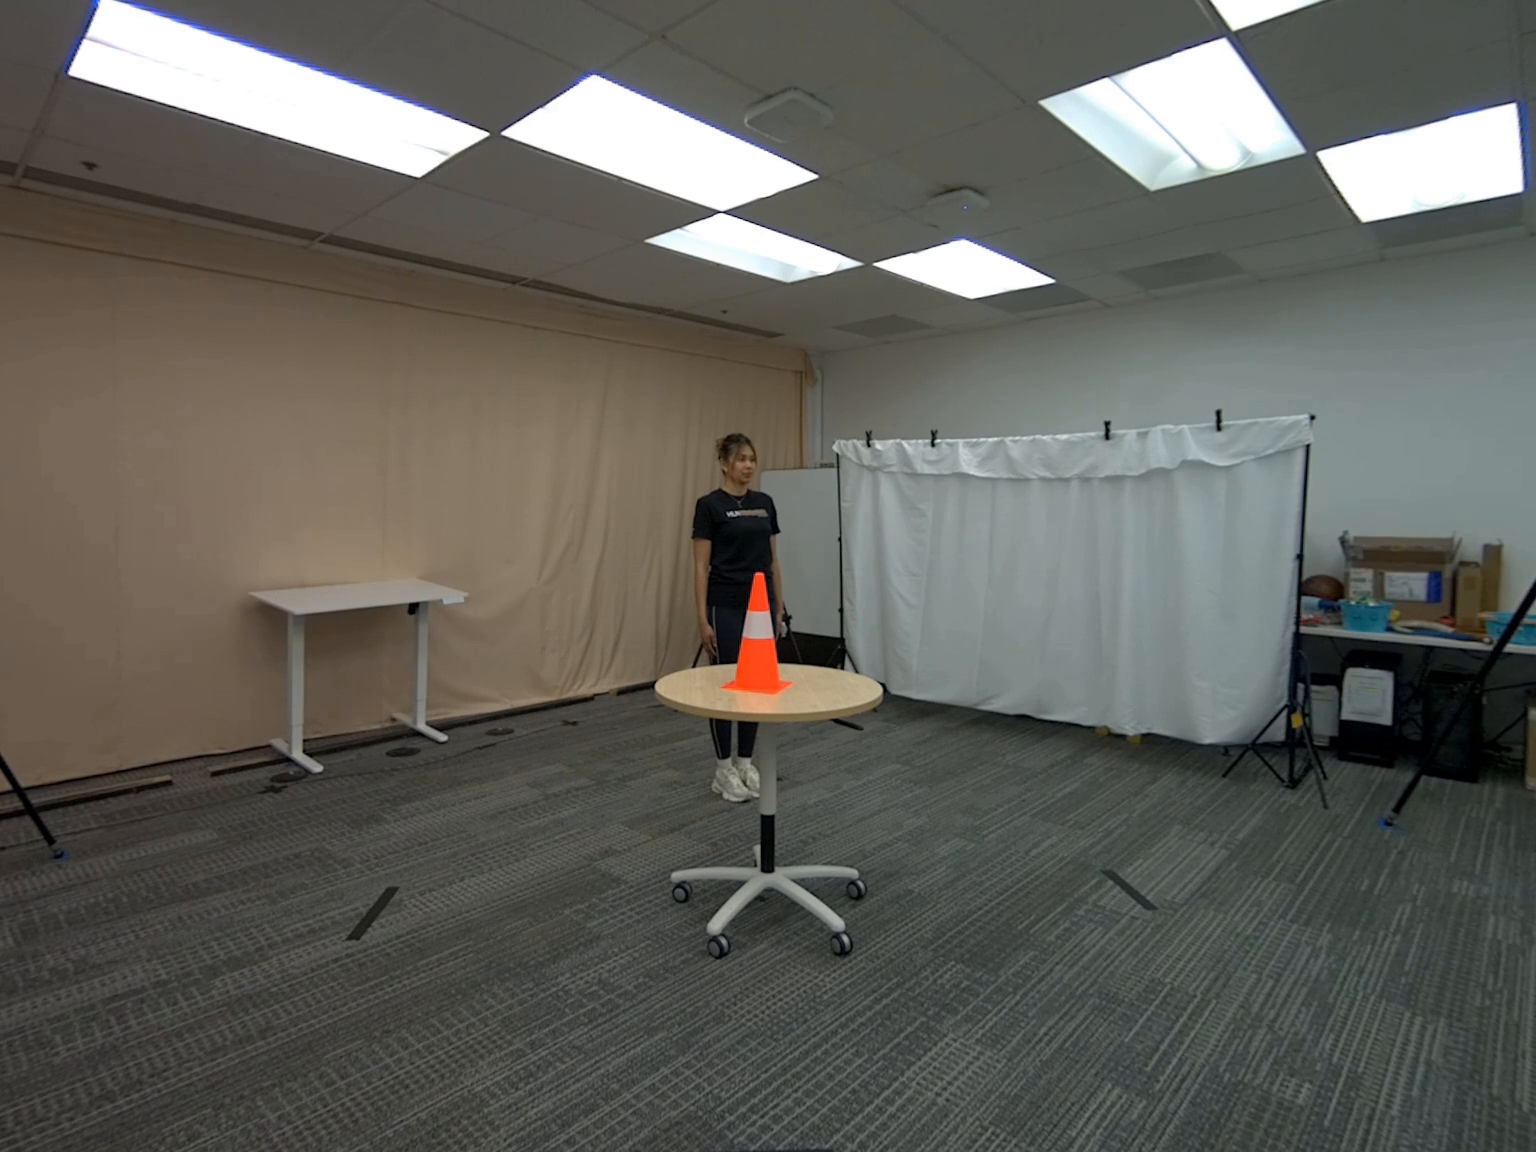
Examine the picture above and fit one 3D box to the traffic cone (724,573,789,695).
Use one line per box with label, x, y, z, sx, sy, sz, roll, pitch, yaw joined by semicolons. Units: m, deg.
traffic cone;-0.031;0.187;2.840;0.208;0.383;0.201;1;4;20
